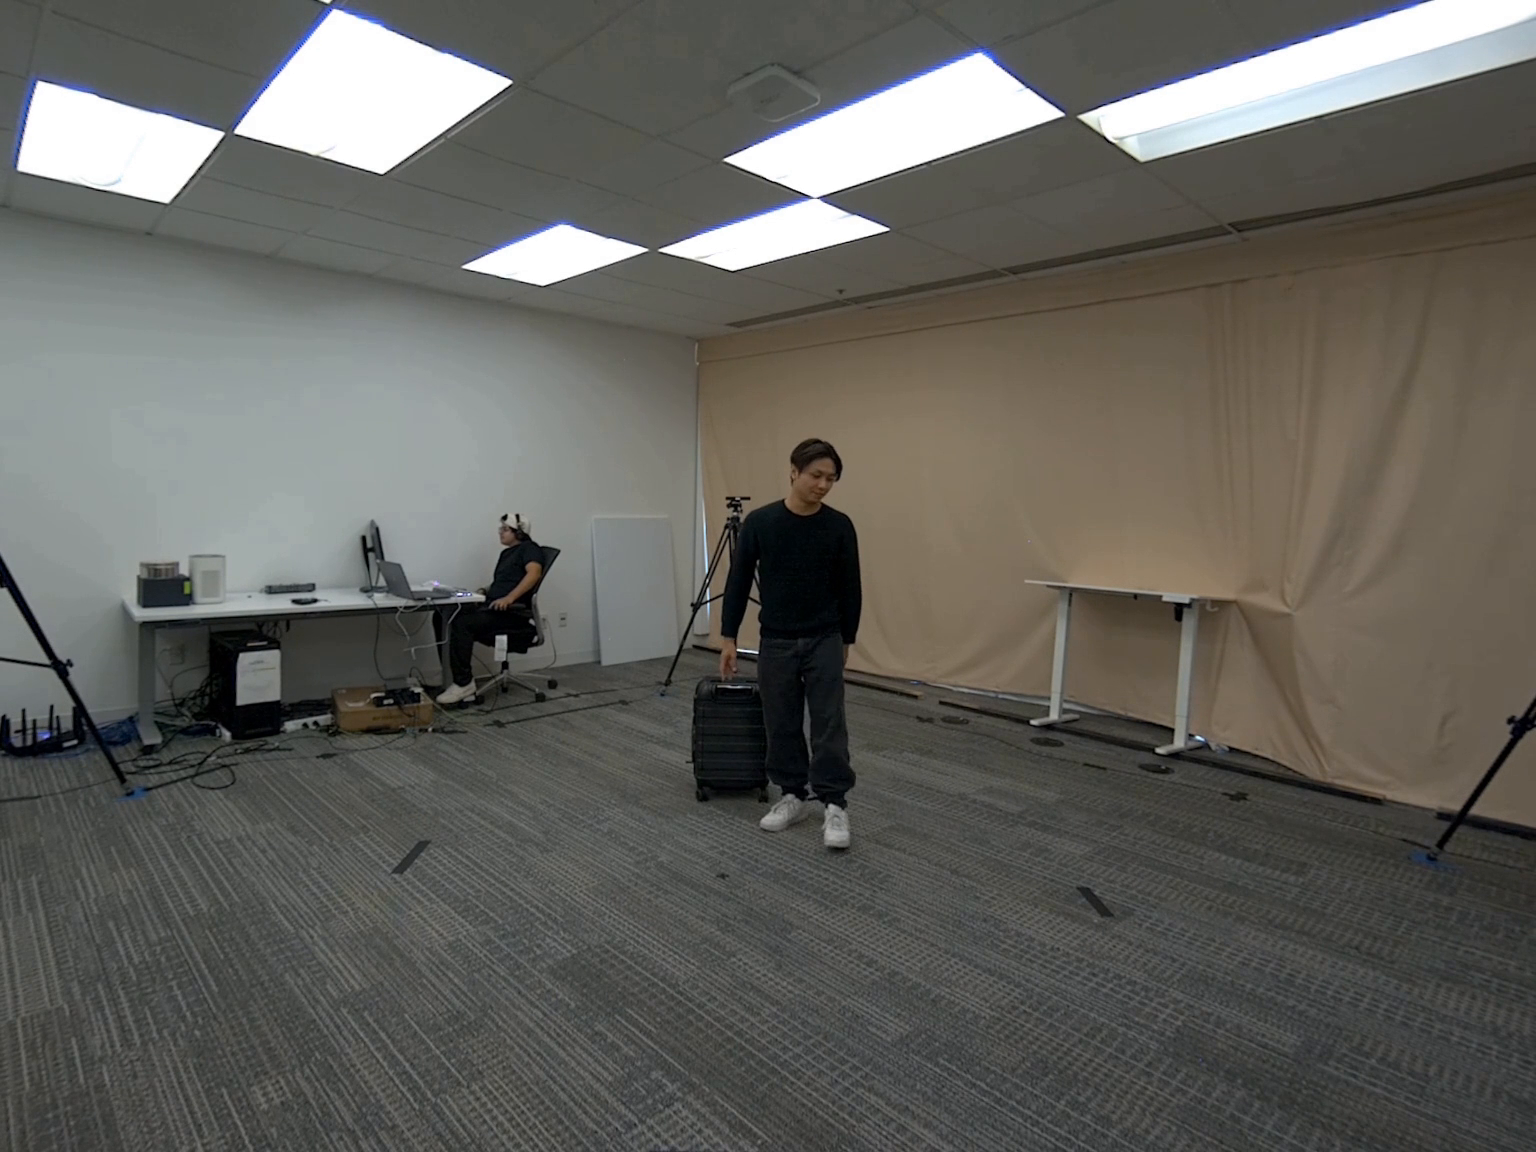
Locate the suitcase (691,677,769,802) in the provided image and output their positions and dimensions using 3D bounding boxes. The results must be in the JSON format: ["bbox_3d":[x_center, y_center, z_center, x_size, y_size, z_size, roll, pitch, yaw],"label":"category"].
[{"bbox_3d":[-0.185,0.751,4.004,0.375,0.549,0.249,1,1,-2],"label":"suitcase"}]
